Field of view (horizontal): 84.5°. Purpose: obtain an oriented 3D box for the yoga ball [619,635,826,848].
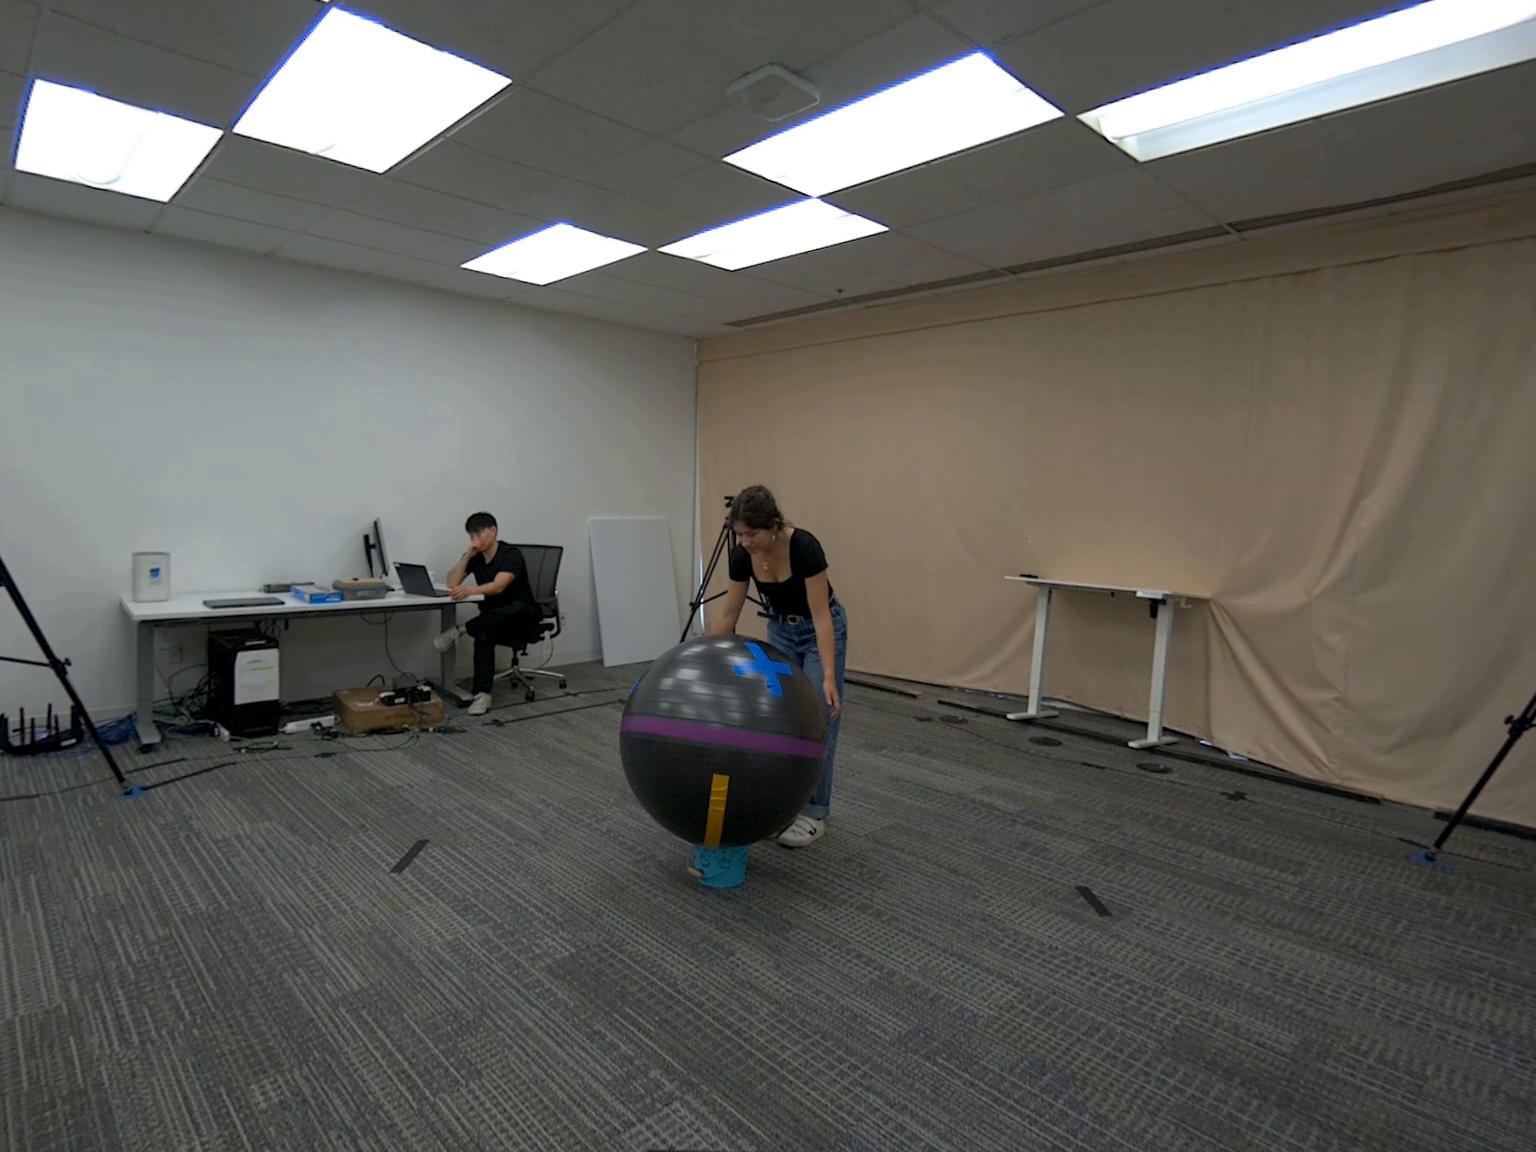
[{"bbox_3d":[-0.169,0.599,3.076,0.757,0.756,0.761,1,4,-1],"label":"yoga ball"}]
